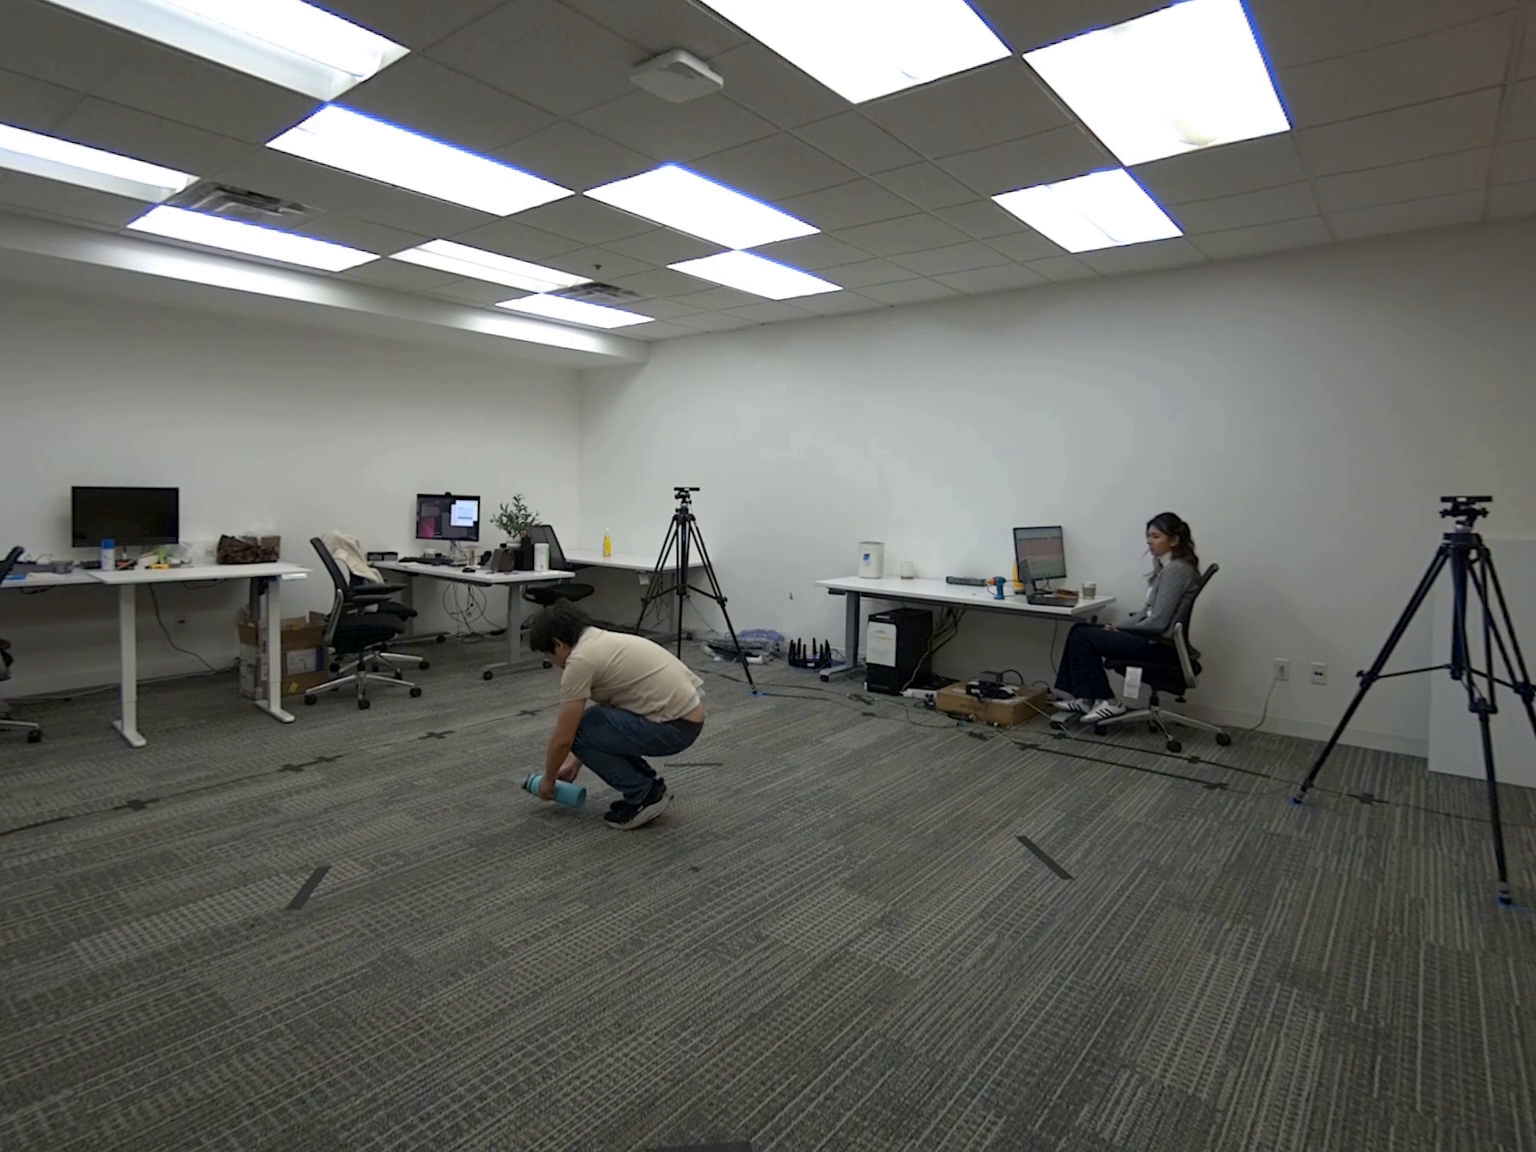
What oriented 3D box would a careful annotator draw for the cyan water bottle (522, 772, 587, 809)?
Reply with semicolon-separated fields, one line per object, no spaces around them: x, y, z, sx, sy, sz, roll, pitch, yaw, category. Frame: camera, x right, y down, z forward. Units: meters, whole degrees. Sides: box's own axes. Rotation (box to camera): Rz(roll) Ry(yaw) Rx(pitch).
-0.936;0.914;3.654;0.290;0.092;0.091;9;7;19;cyan water bottle
